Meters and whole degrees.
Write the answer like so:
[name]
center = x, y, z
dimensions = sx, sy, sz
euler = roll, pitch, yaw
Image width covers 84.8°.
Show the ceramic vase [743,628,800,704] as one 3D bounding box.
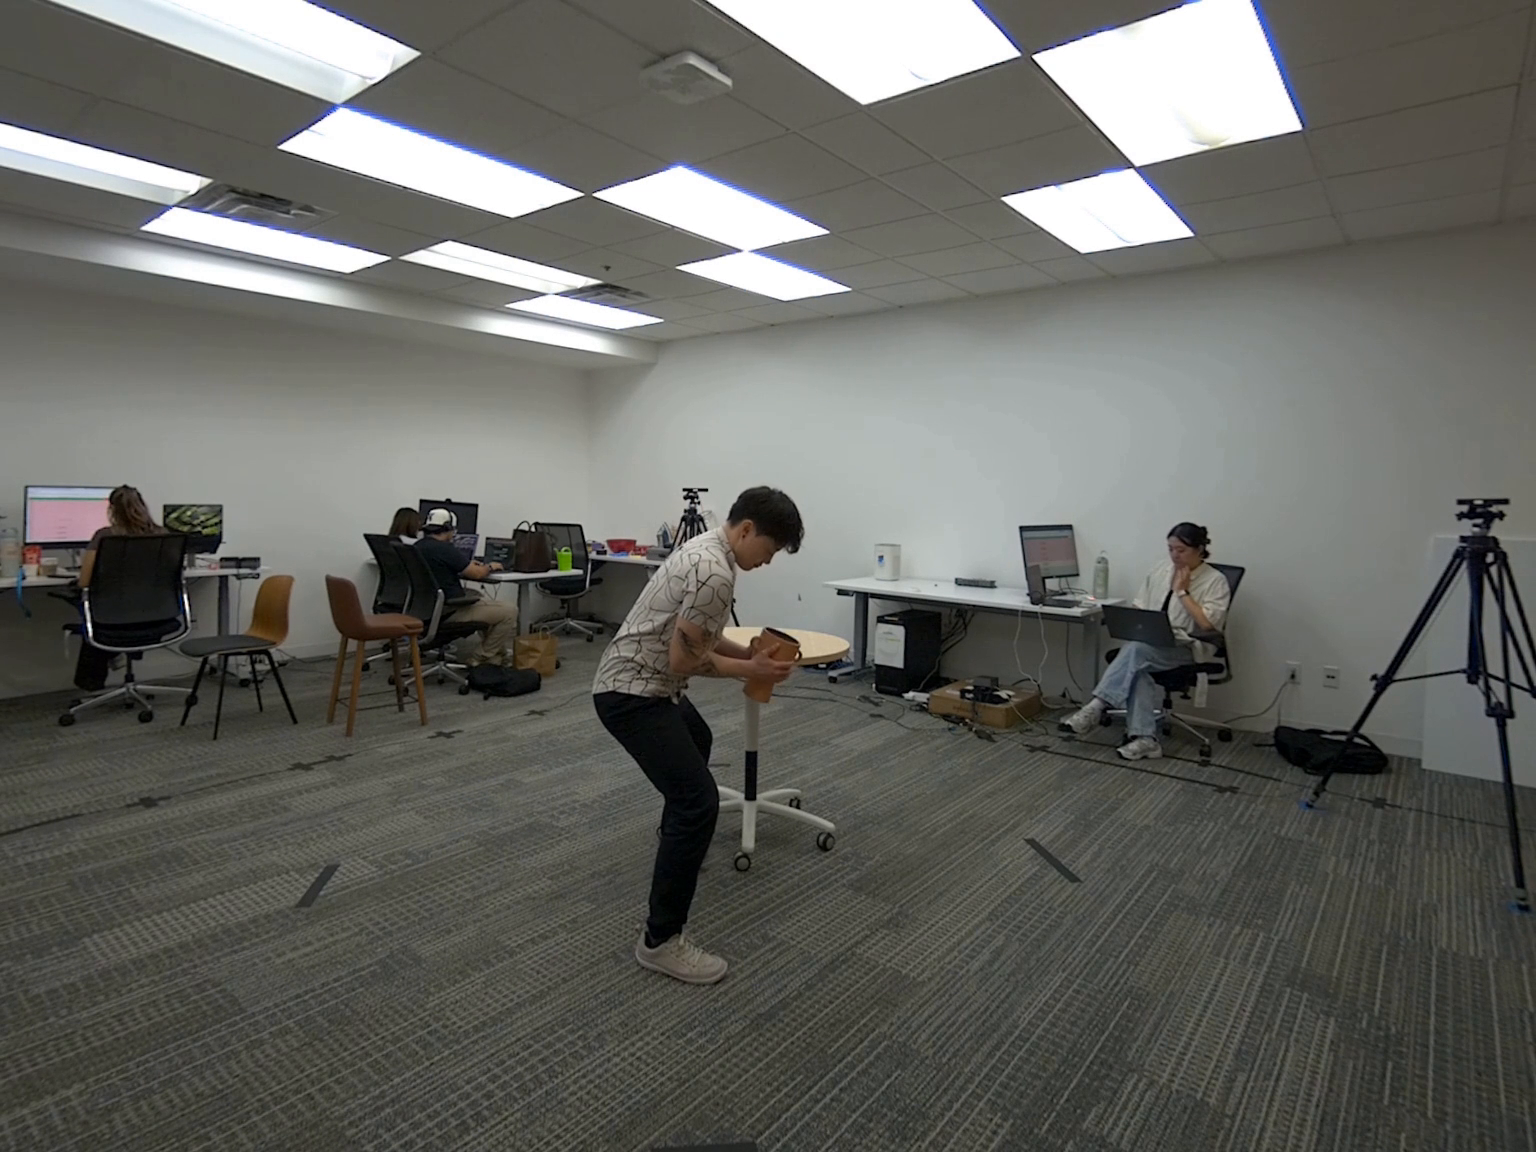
[ceramic vase]
center = -0.005, 0.292, 2.763
dimensions = 0.162, 0.219, 0.132
euler = 25, 7, 13
